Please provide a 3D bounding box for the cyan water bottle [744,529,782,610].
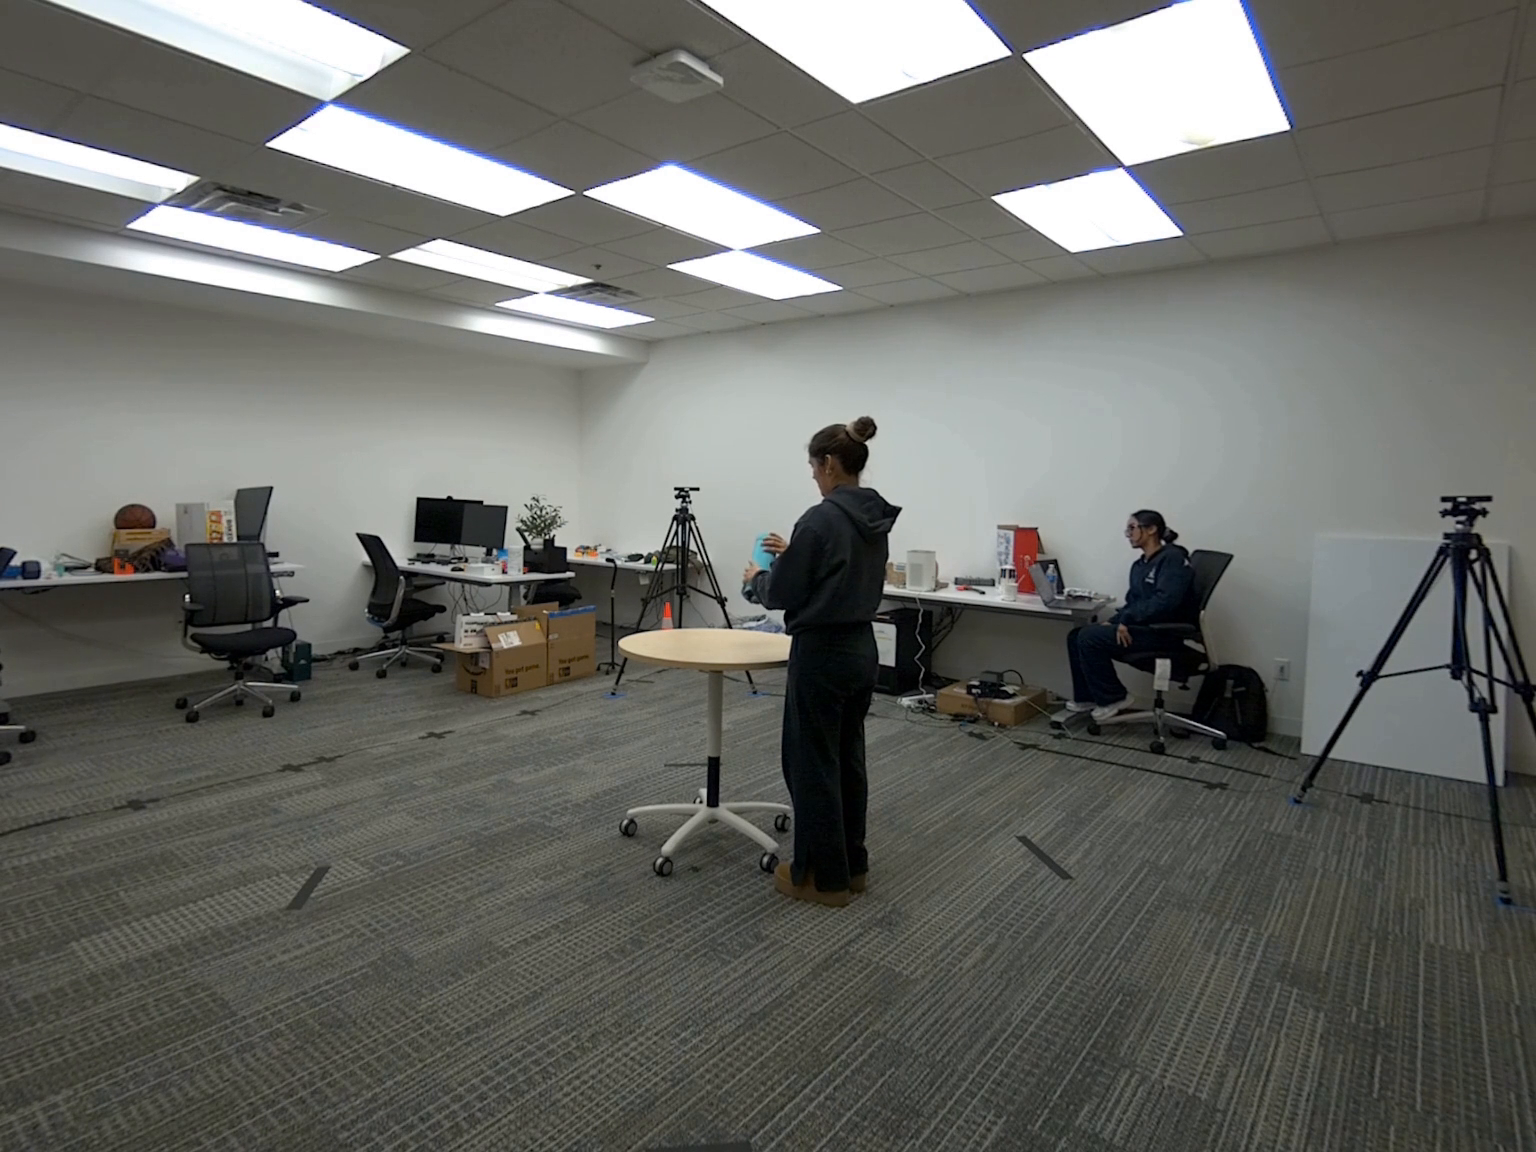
[{"bbox_3d":[-0.020,-0.027,3.179,0.093,0.289,0.090,9,-30,3],"label":"cyan water bottle"}]
